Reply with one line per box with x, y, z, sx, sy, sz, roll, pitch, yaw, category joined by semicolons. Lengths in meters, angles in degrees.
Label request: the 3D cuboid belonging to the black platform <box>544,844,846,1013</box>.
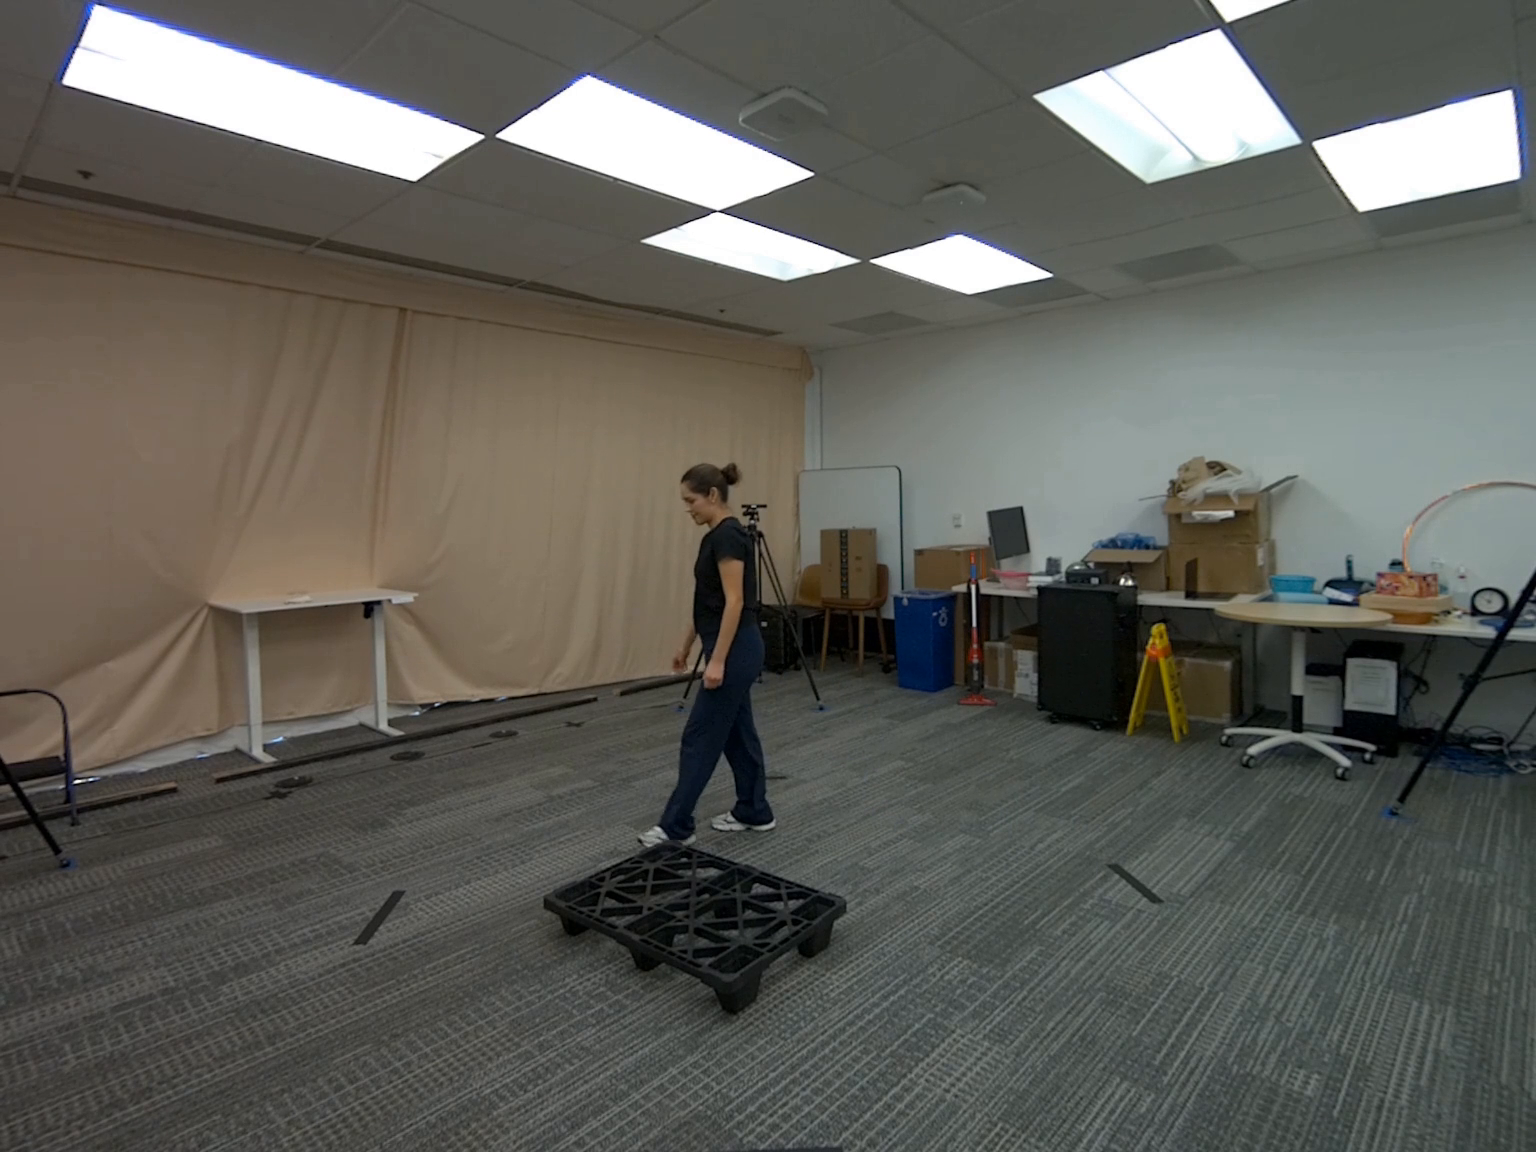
-0.223;1.102;2.704;0.832;0.143;0.587;2;7;39;black platform
